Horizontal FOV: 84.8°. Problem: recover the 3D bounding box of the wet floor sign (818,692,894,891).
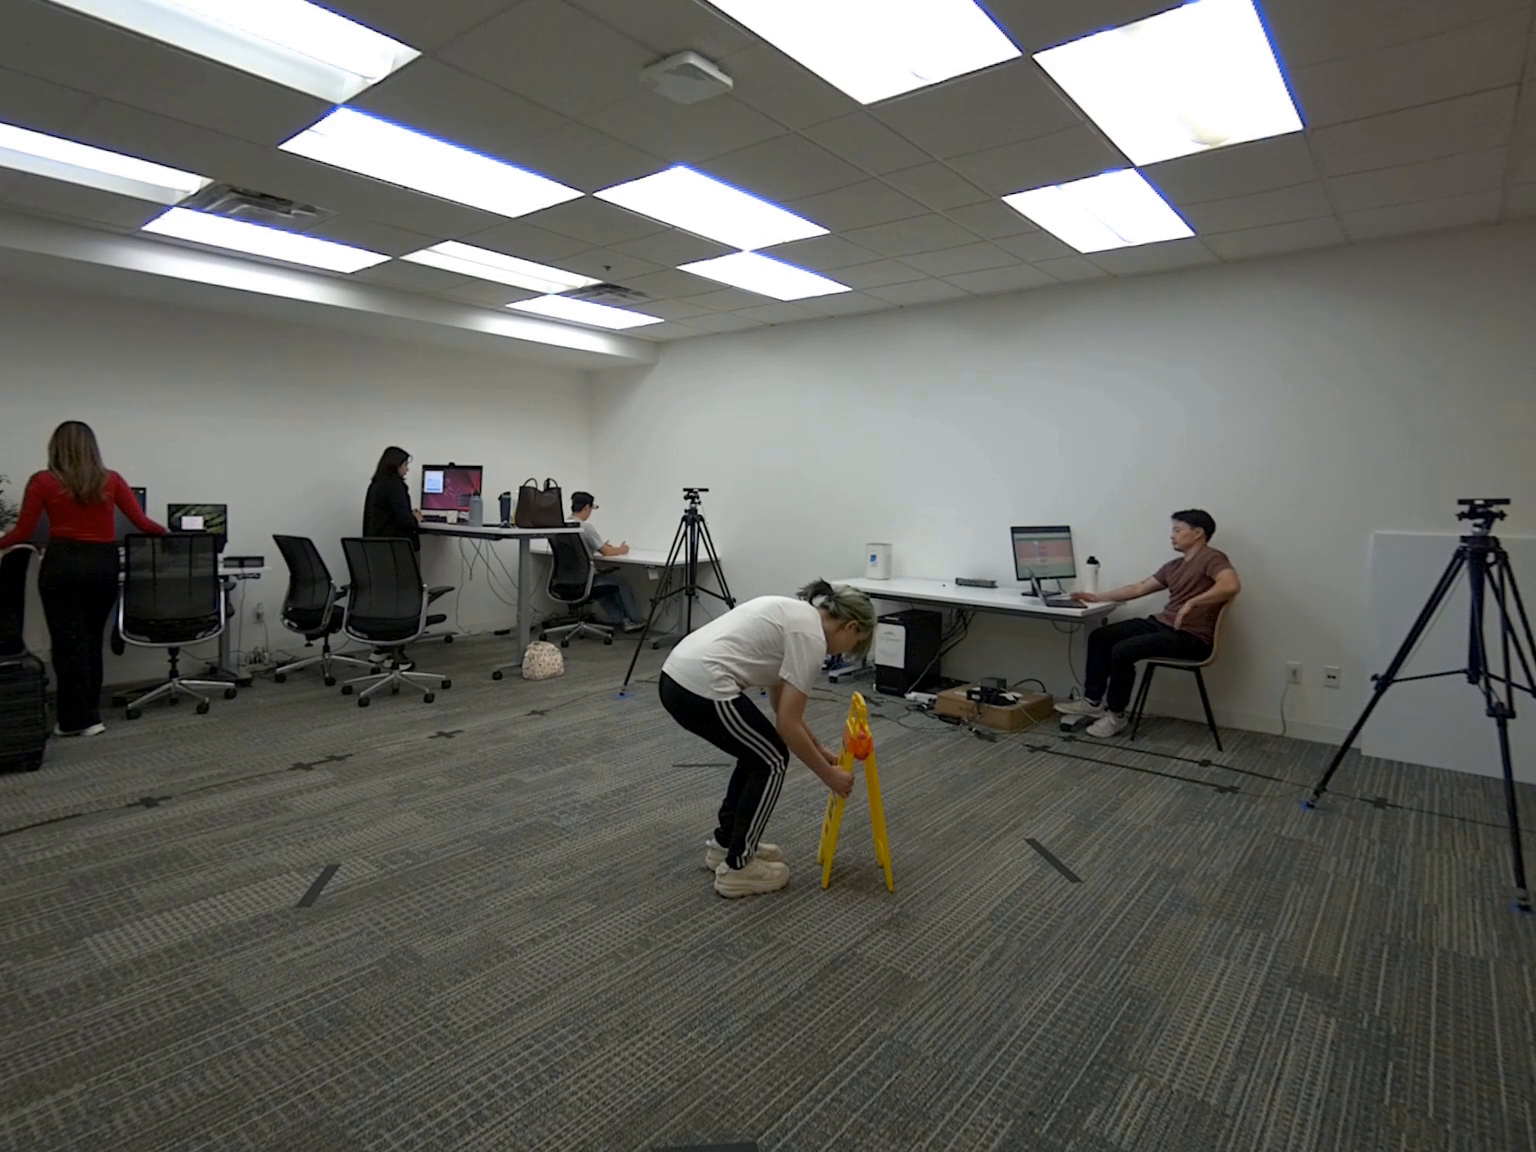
[{"bbox_3d":[0.316,0.762,3.073,0.290,0.643,0.283,2,4,0],"label":"wet floor sign"}]
